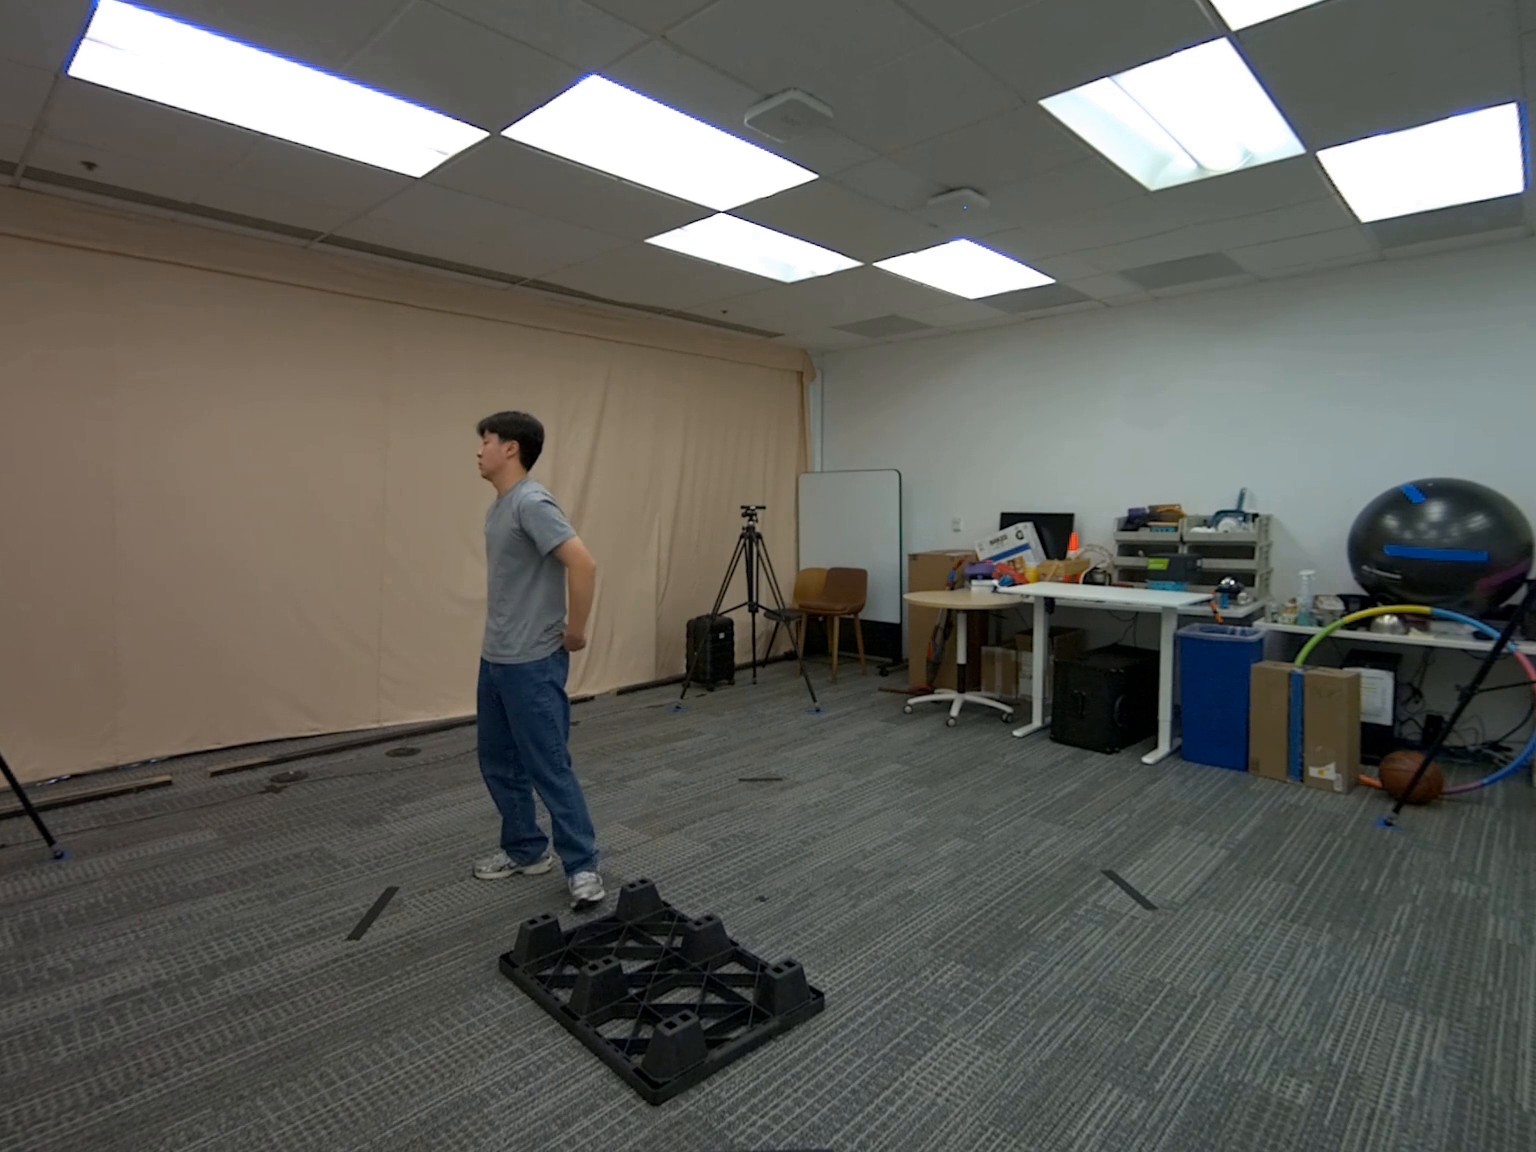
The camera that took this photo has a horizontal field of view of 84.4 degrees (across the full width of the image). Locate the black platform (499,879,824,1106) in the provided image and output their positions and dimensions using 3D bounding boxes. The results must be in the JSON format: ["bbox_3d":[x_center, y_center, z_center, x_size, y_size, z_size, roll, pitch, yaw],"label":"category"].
[{"bbox_3d":[-0.319,1.126,2.431,0.587,0.143,0.833,-5,7,-43],"label":"black platform"}]
